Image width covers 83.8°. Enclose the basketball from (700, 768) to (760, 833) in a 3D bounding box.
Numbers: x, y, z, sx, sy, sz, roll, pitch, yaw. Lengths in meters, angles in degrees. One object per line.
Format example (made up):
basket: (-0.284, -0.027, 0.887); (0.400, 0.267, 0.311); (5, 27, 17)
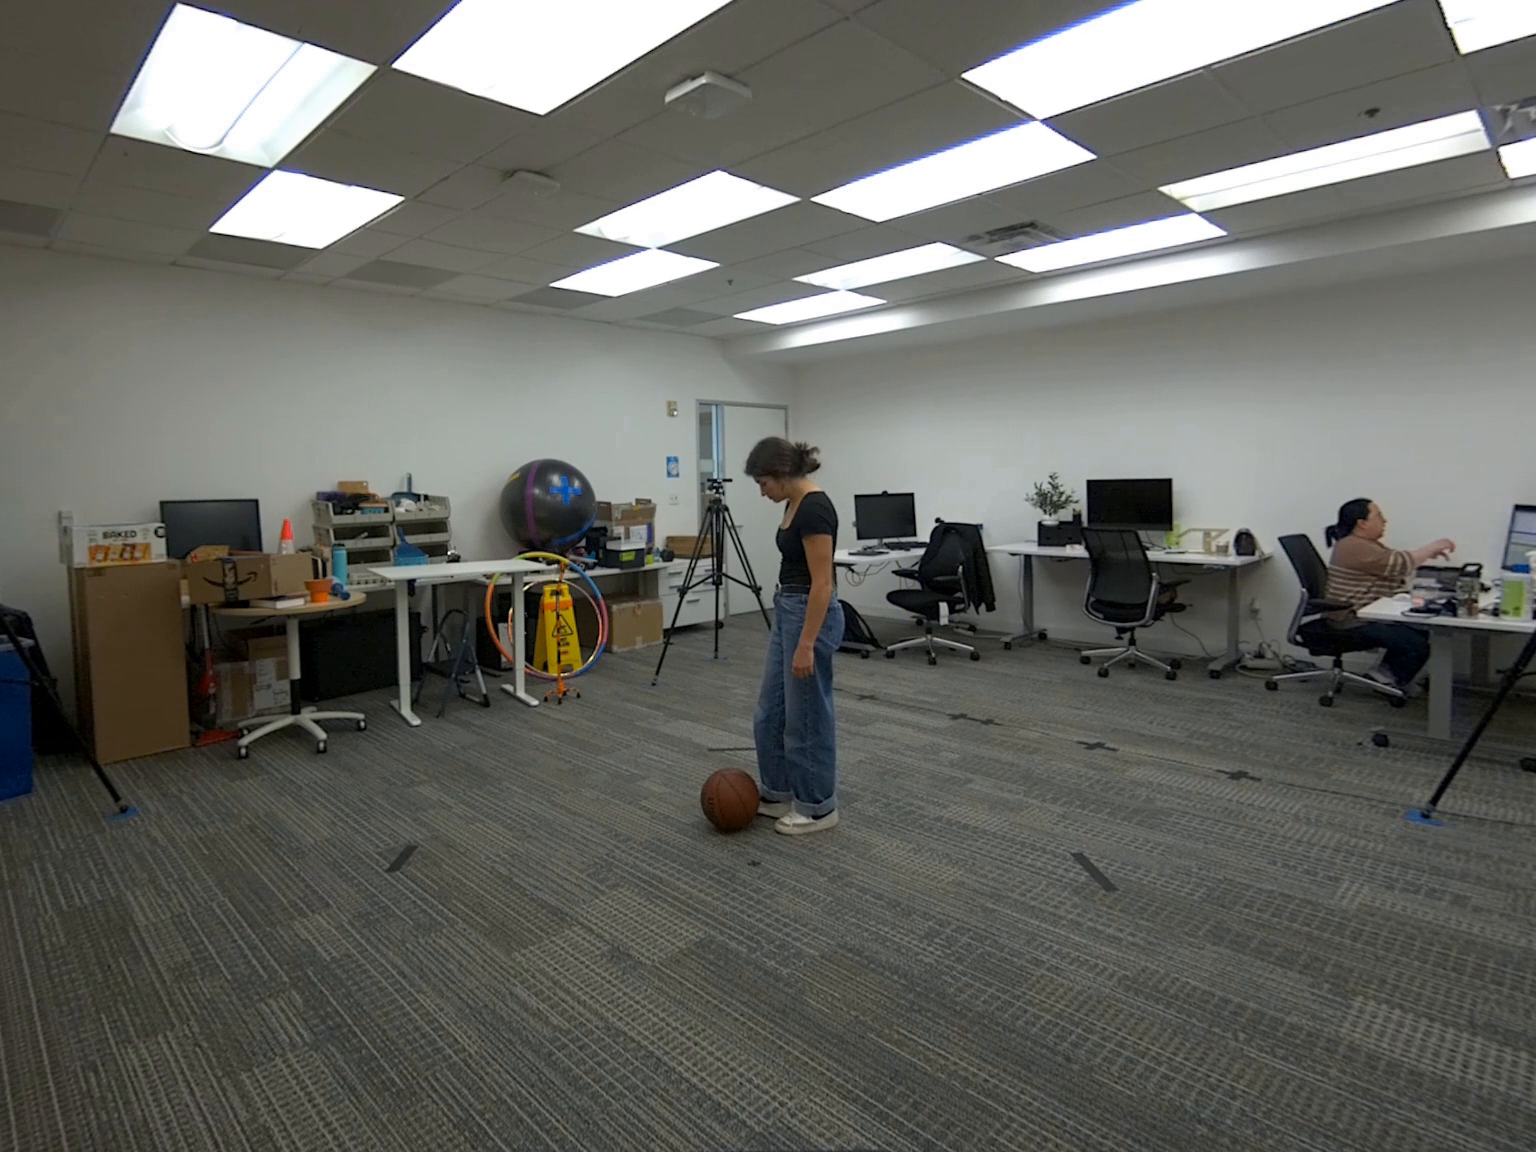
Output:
basketball: (-0.154, 0.889, 3.423); (0.236, 0.235, 0.237); (-1, 5, -2)
